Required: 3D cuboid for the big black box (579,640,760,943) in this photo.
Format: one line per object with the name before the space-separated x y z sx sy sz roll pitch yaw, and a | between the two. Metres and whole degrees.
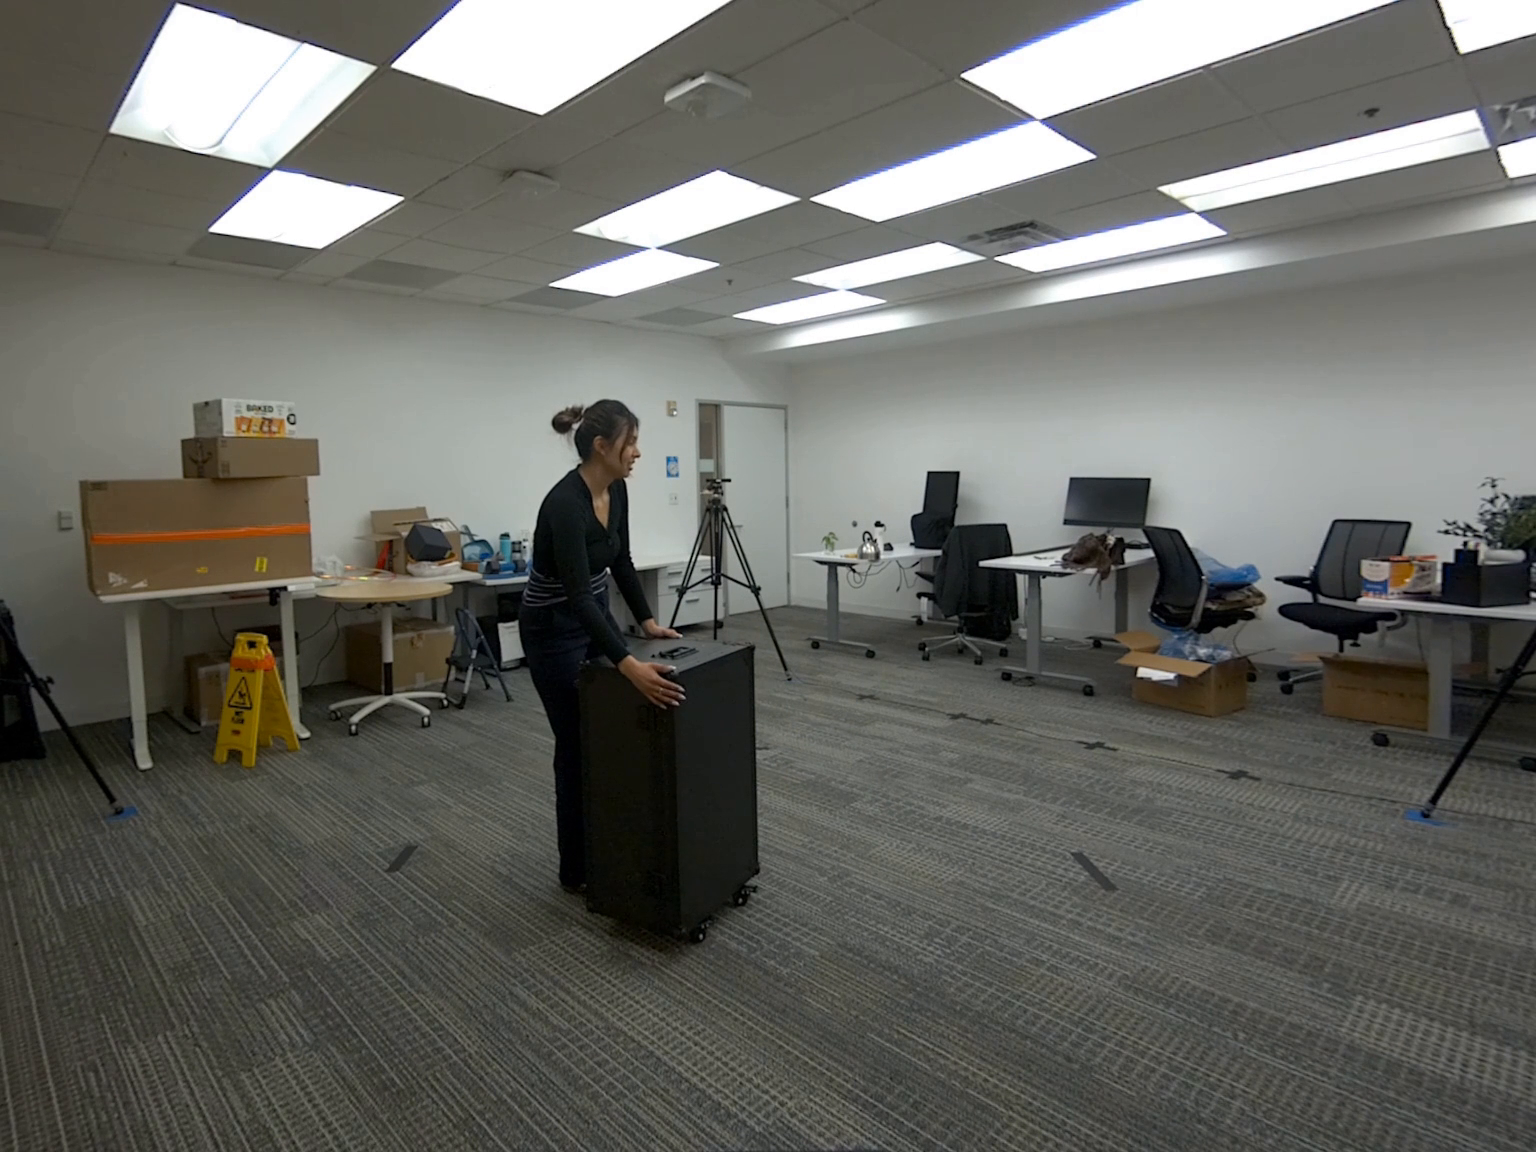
big black box | -0.312 0.669 2.735 0.407 0.858 0.509 0 5 31
